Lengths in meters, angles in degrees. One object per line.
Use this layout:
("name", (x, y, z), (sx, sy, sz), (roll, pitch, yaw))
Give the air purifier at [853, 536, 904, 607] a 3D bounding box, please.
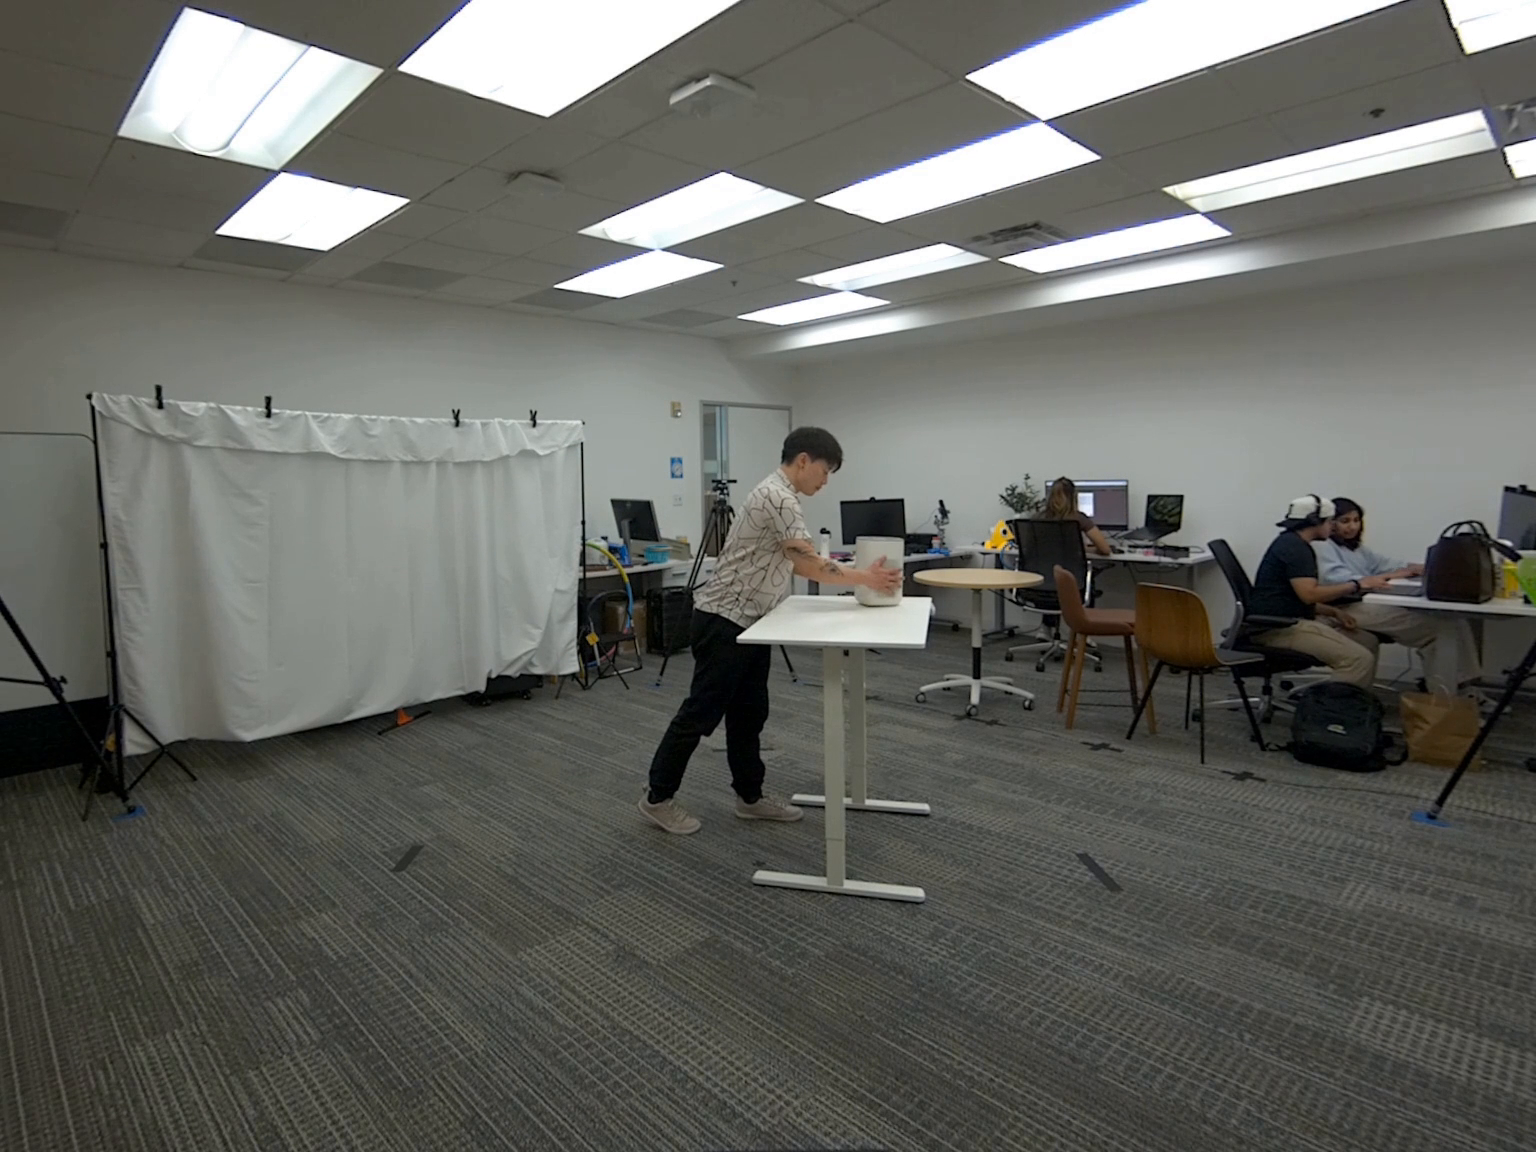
("air purifier", (0.438, -0.020, 3.443), (0.169, 0.264, 0.174), (1, 5, -13))
